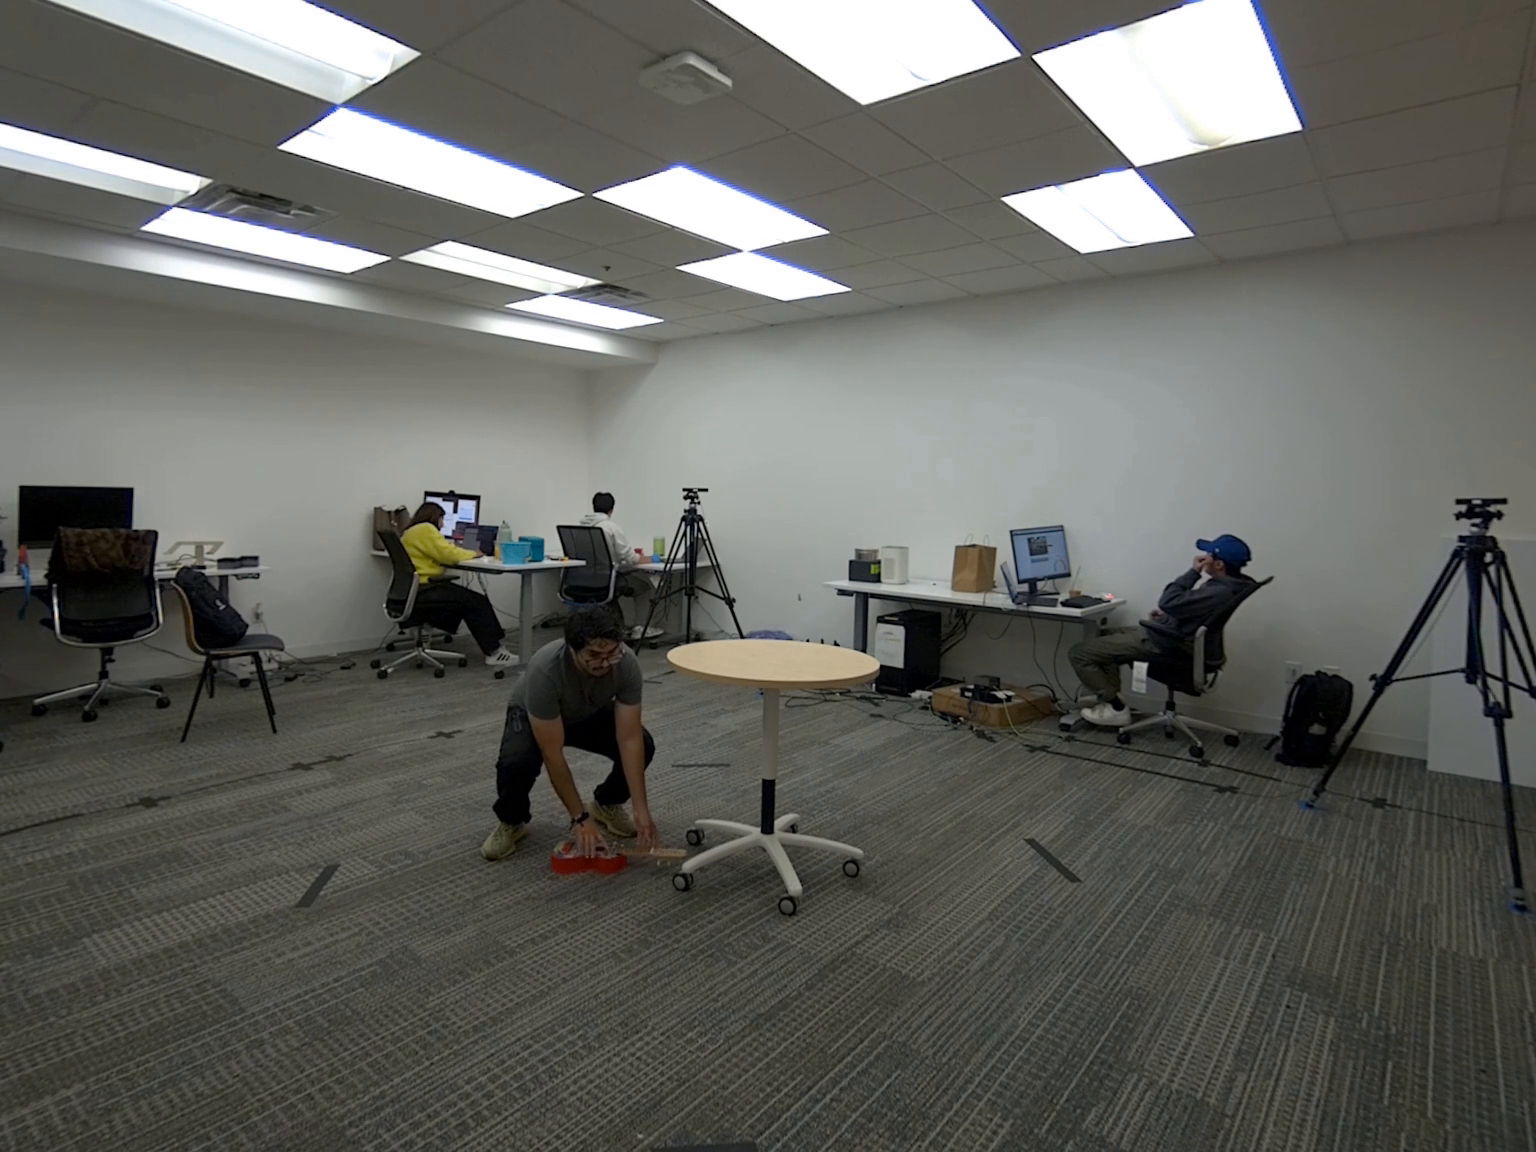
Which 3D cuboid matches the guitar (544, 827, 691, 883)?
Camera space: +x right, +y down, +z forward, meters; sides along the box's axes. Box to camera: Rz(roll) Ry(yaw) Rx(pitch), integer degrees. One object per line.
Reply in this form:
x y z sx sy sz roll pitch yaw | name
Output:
-0.555 1.022 3.098 0.505 0.070 0.191 2 5 14 | guitar
